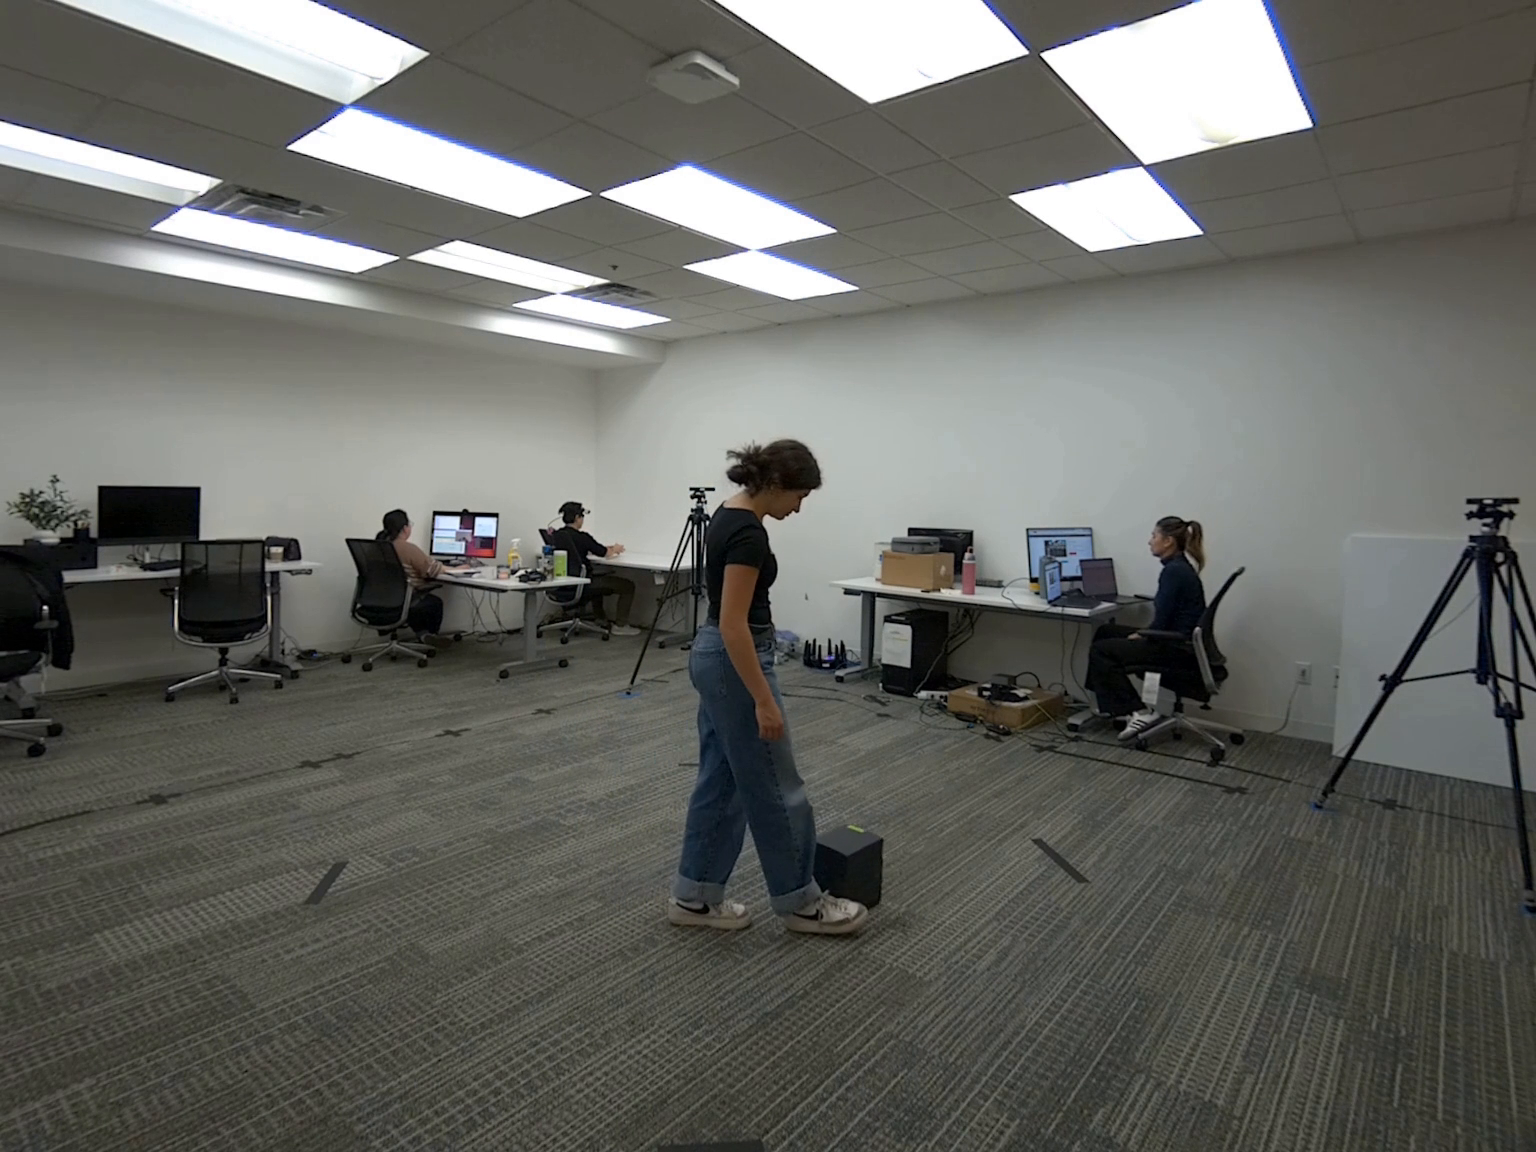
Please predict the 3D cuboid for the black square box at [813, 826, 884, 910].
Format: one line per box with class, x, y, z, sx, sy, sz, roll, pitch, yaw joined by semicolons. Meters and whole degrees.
black square box;0.246;0.984;2.836;0.161;0.227;0.210;5;5;42
